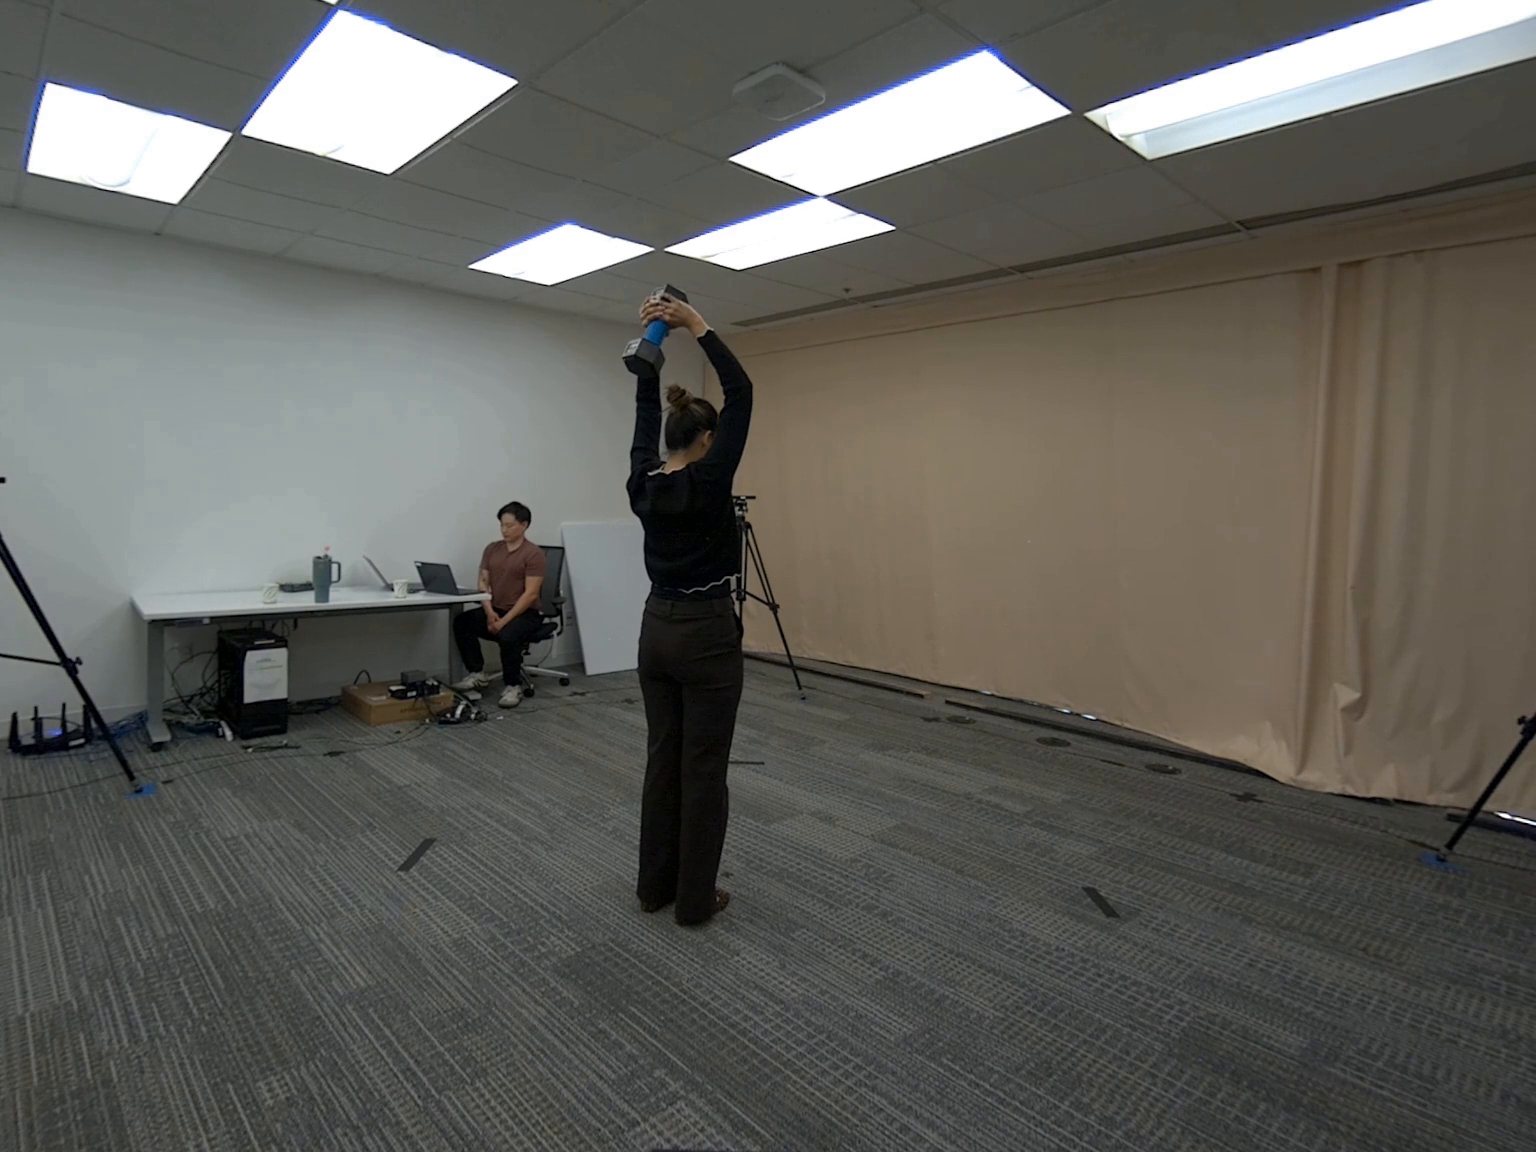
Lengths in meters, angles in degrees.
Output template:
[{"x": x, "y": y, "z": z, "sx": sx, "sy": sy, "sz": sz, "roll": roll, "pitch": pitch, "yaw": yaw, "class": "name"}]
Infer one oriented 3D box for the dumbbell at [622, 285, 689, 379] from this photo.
[{"x": -0.348, "y": -0.755, "z": 2.599, "sx": 0.110, "sy": 0.295, "sz": 0.120, "roll": 14, "pitch": -16, "yaw": 18, "class": "dumbbell"}]
